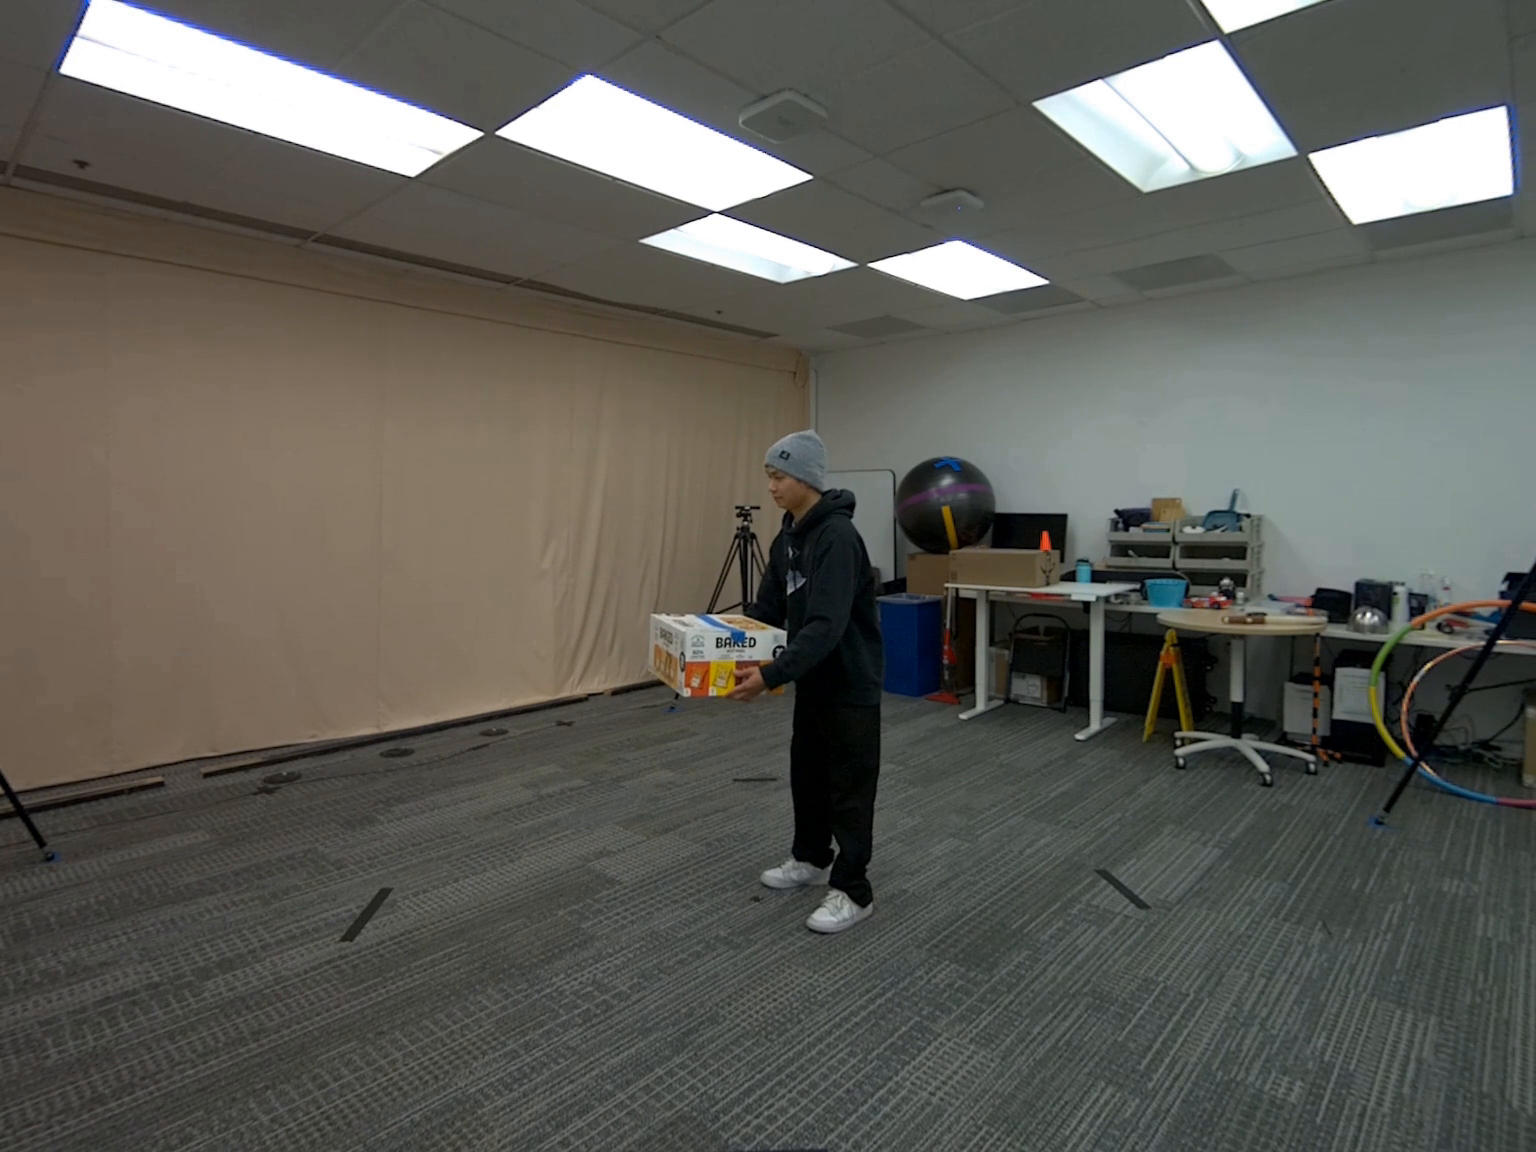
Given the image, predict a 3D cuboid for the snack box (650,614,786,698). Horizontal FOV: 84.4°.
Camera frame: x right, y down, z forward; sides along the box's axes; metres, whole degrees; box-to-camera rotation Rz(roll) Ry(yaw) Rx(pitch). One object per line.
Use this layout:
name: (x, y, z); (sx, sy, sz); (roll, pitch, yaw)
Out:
snack box: (-0.178, 0.257, 2.813); (0.333, 0.205, 0.415); (2, 4, -22)
